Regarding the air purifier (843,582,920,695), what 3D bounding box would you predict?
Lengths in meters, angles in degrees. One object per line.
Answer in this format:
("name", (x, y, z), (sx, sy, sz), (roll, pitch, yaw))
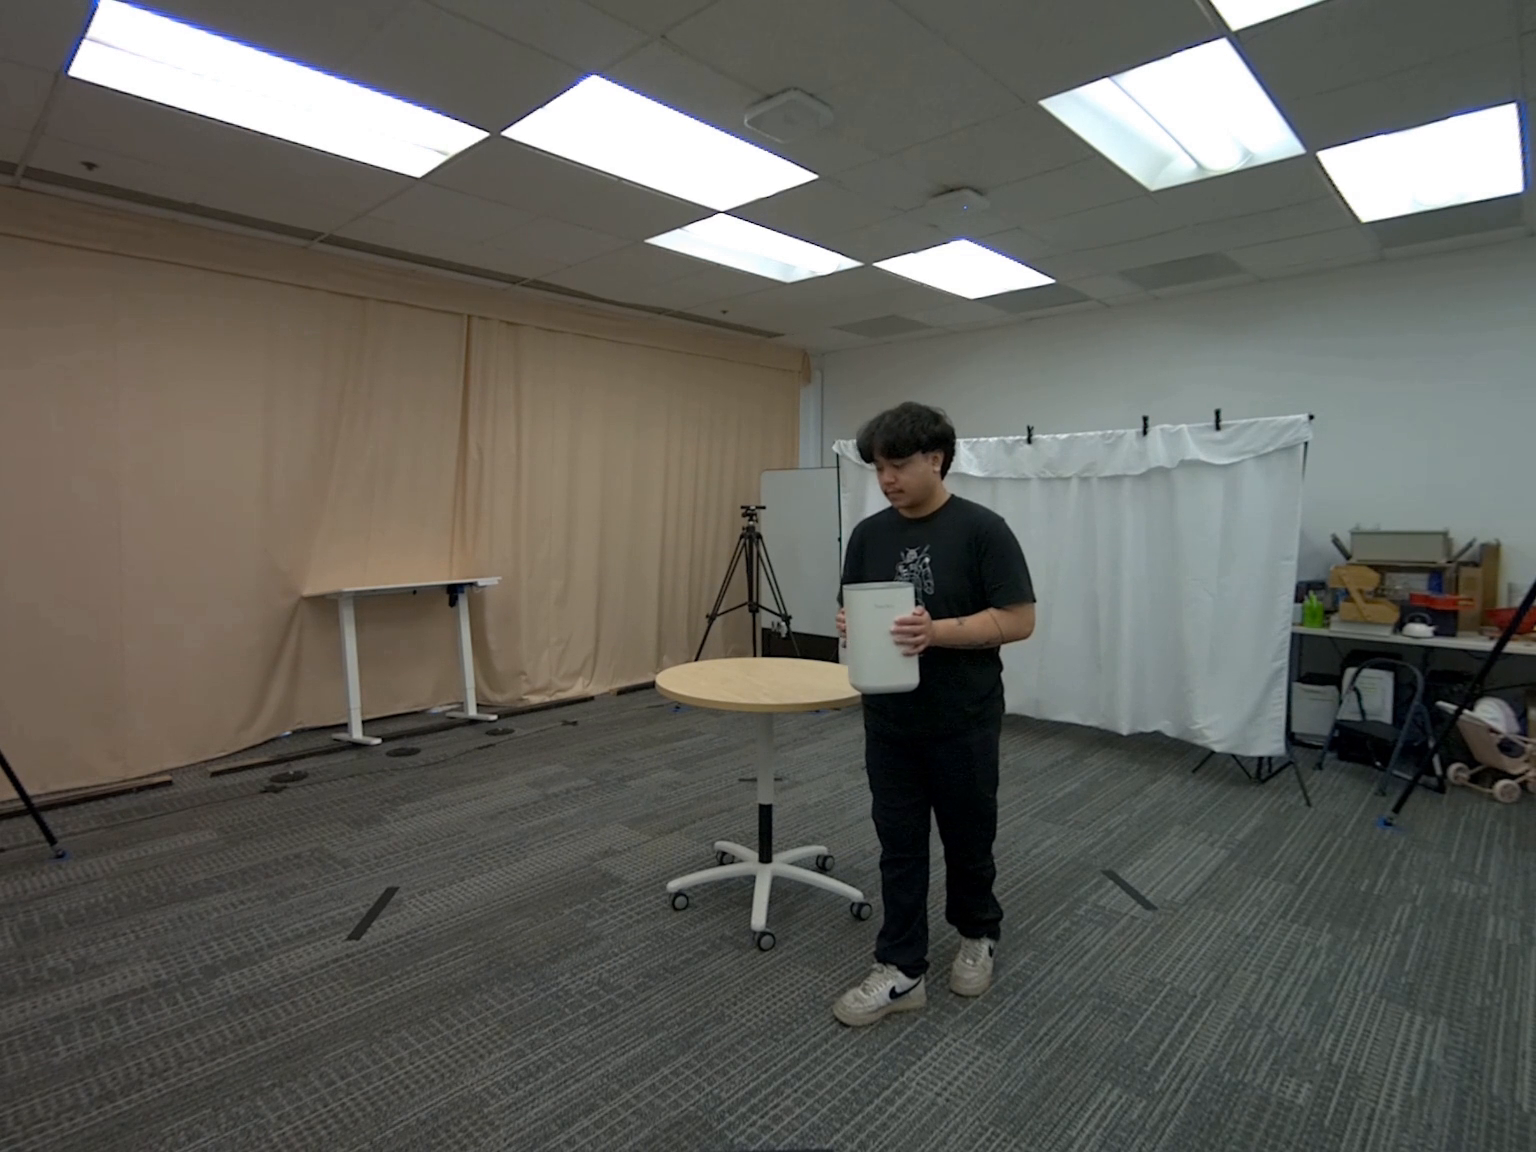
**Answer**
("air purifier", (0.293, 0.157, 2.149), (0.171, 0.265, 0.172), (-3, 1, 0))
